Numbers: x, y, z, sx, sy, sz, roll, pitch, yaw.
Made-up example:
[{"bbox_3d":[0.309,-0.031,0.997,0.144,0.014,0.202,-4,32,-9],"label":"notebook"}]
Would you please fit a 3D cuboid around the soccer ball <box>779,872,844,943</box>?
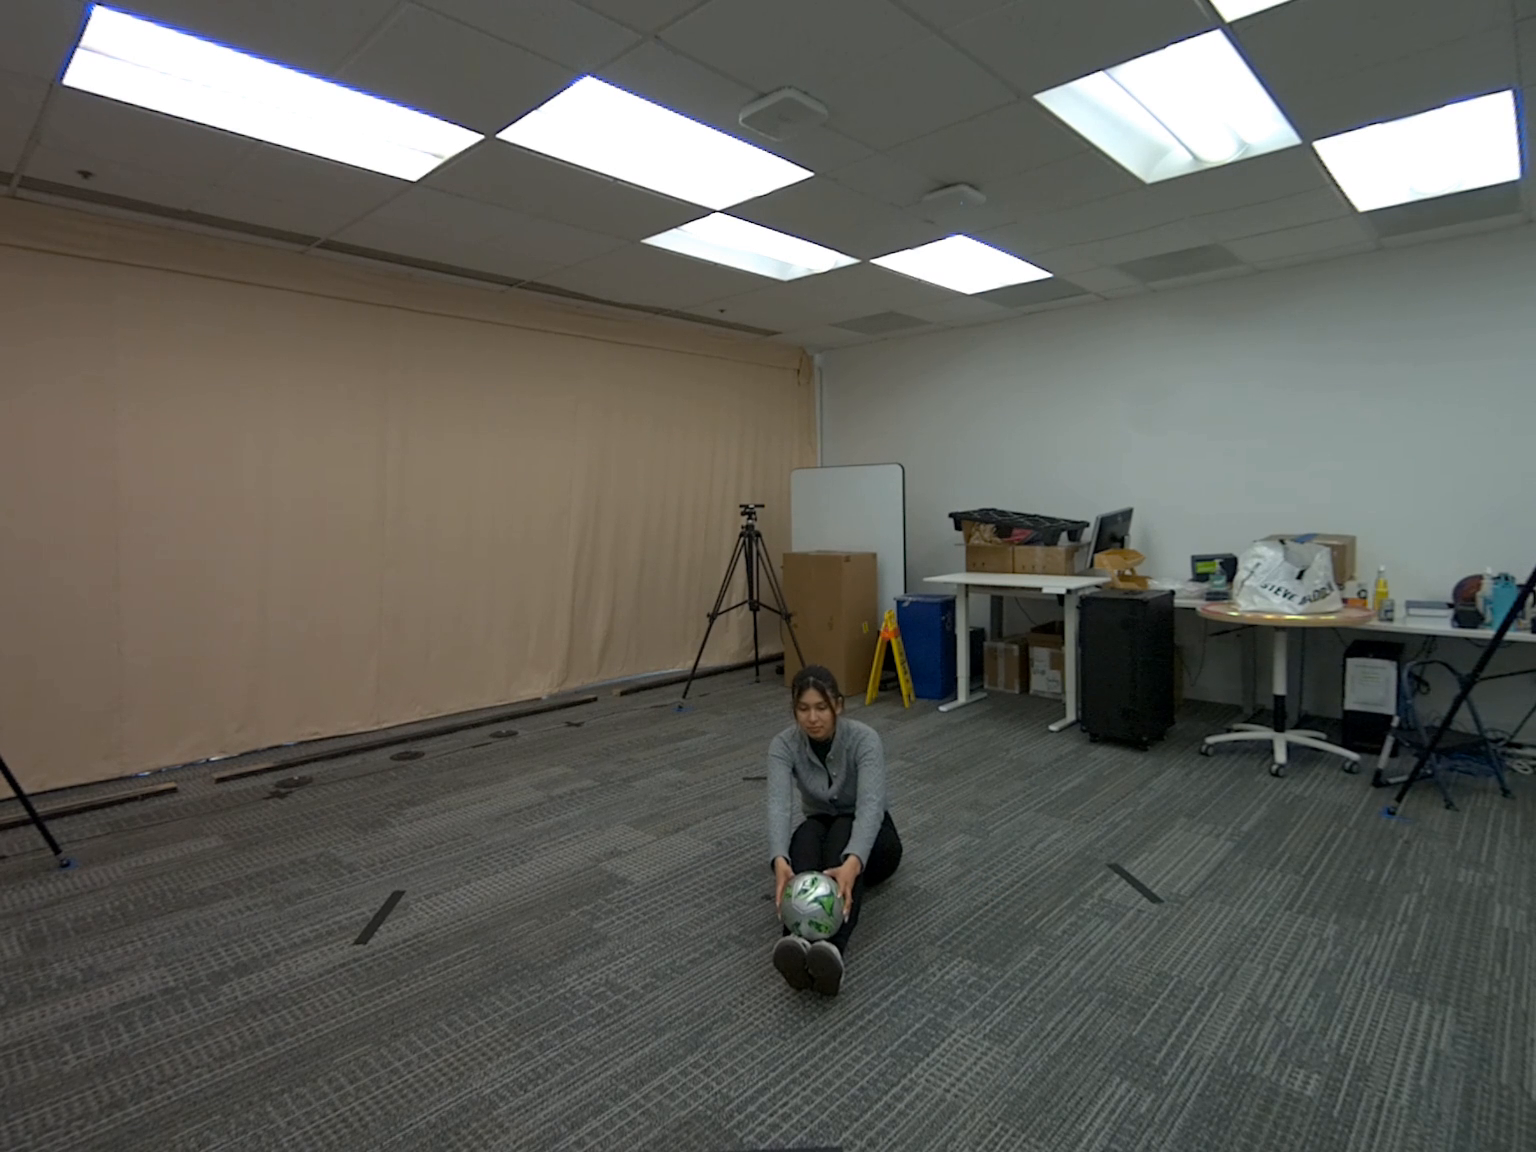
[{"bbox_3d":[0.129,0.953,2.449,0.187,0.187,0.188,-1,4,-2],"label":"soccer ball"}]
